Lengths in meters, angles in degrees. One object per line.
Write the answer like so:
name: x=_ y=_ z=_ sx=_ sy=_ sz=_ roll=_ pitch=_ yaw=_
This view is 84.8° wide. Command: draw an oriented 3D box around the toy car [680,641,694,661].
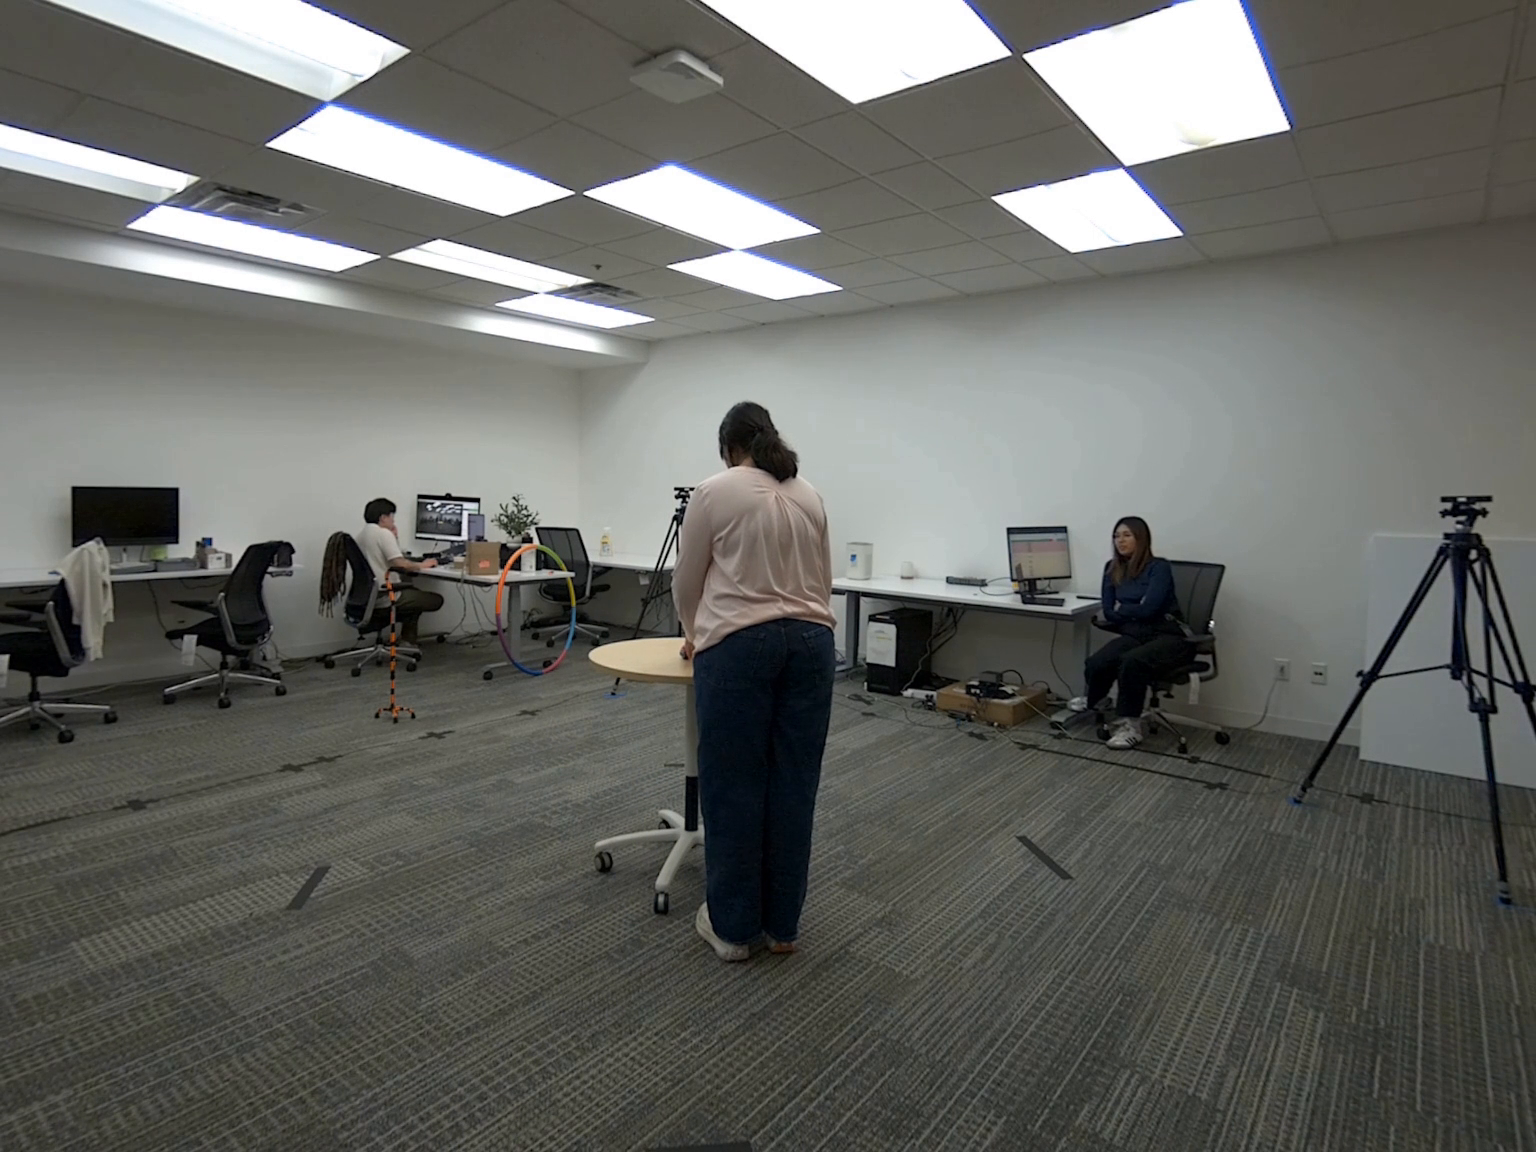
toy car: x=-0.221 y=0.265 z=2.928 sx=0.128 sy=0.084 sz=0.257 roll=0 pitch=-6 yaw=-18
